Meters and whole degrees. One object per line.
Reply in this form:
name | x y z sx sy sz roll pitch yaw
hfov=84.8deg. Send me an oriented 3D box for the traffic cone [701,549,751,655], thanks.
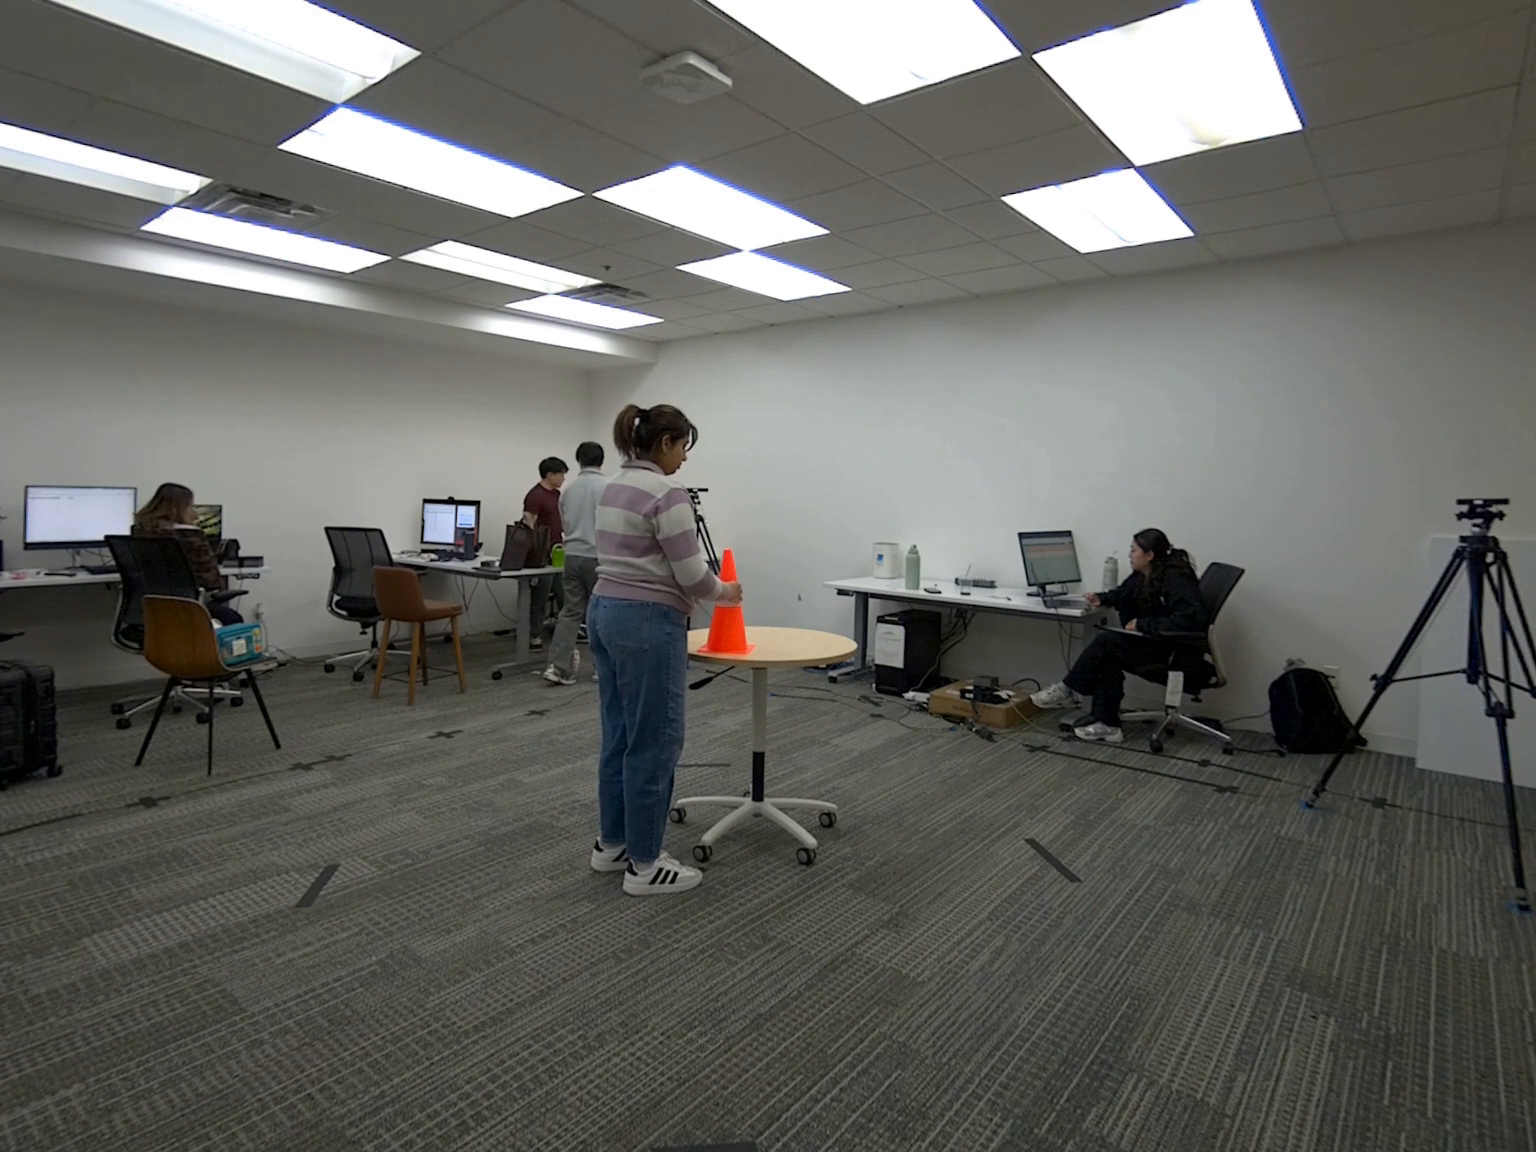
traffic cone | -0.172 0.088 3.233 0.207 0.382 0.202 0 4 10
